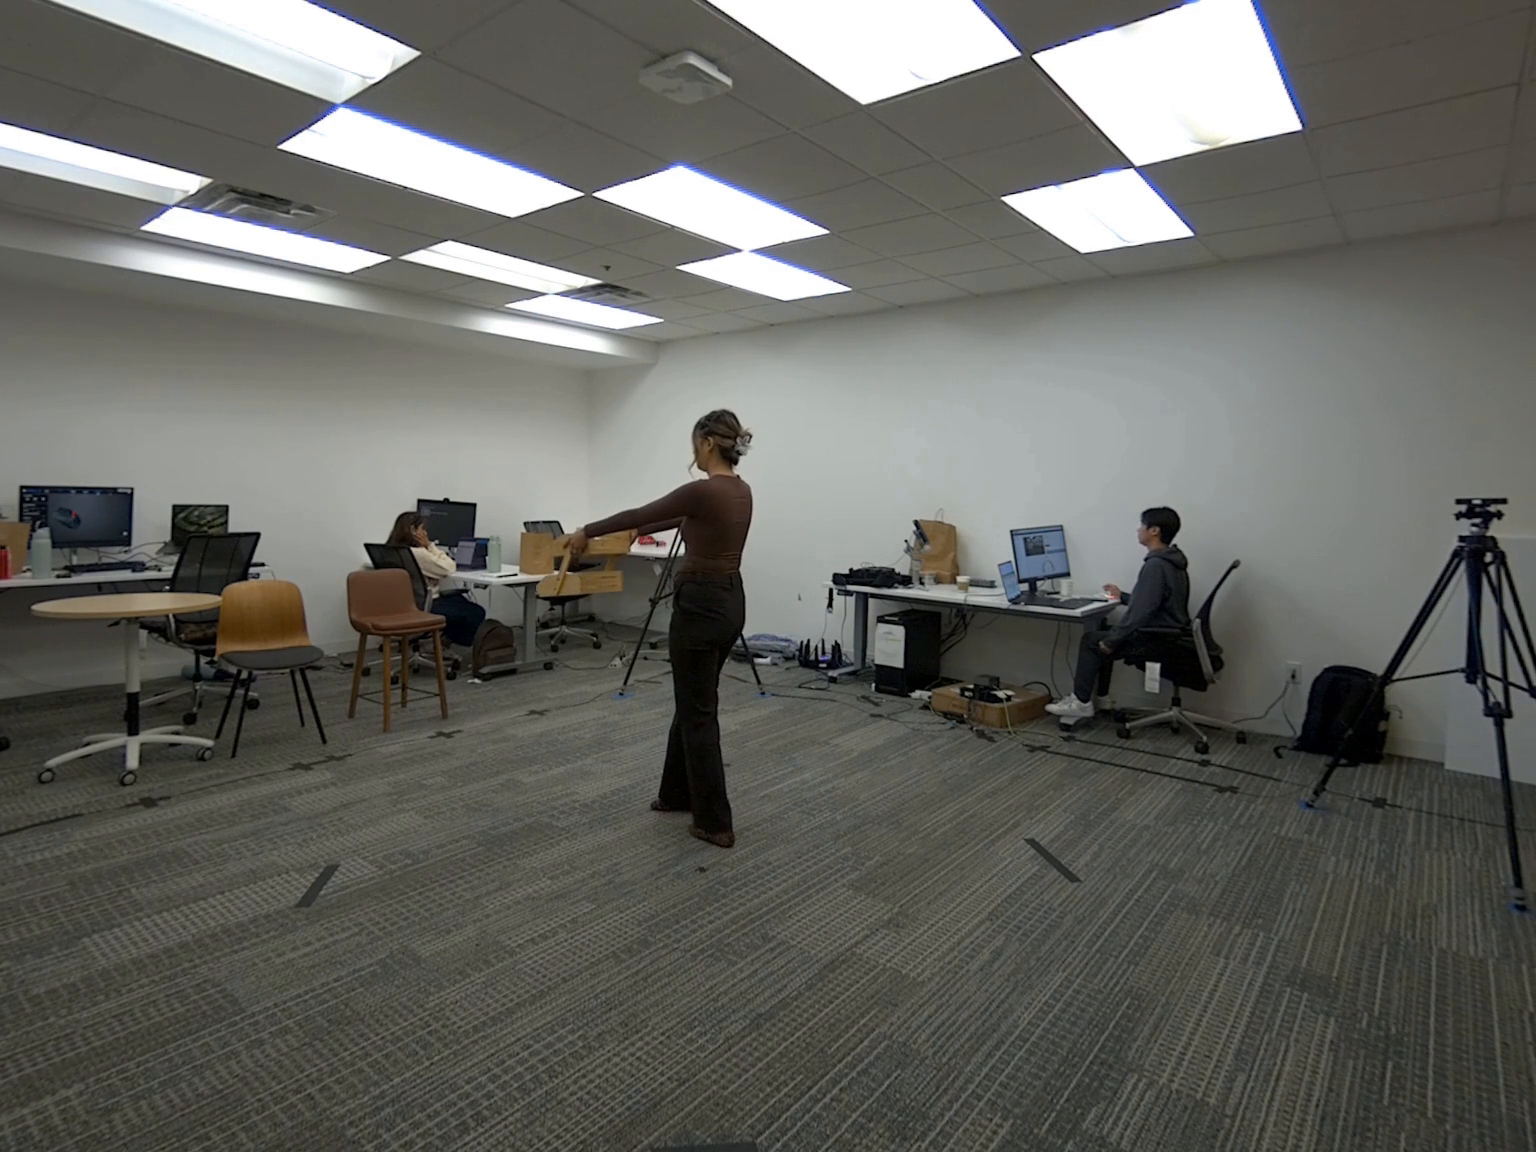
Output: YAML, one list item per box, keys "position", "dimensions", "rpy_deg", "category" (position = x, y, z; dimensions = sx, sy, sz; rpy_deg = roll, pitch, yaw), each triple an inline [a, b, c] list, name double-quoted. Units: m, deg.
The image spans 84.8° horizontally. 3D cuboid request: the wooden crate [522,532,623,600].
- position: [-0.833, -0.064, 3.762]
  dimensions: [0.310, 0.274, 0.315]
  rpy_deg: [-2, 0, 30]
  category: "wooden crate"
